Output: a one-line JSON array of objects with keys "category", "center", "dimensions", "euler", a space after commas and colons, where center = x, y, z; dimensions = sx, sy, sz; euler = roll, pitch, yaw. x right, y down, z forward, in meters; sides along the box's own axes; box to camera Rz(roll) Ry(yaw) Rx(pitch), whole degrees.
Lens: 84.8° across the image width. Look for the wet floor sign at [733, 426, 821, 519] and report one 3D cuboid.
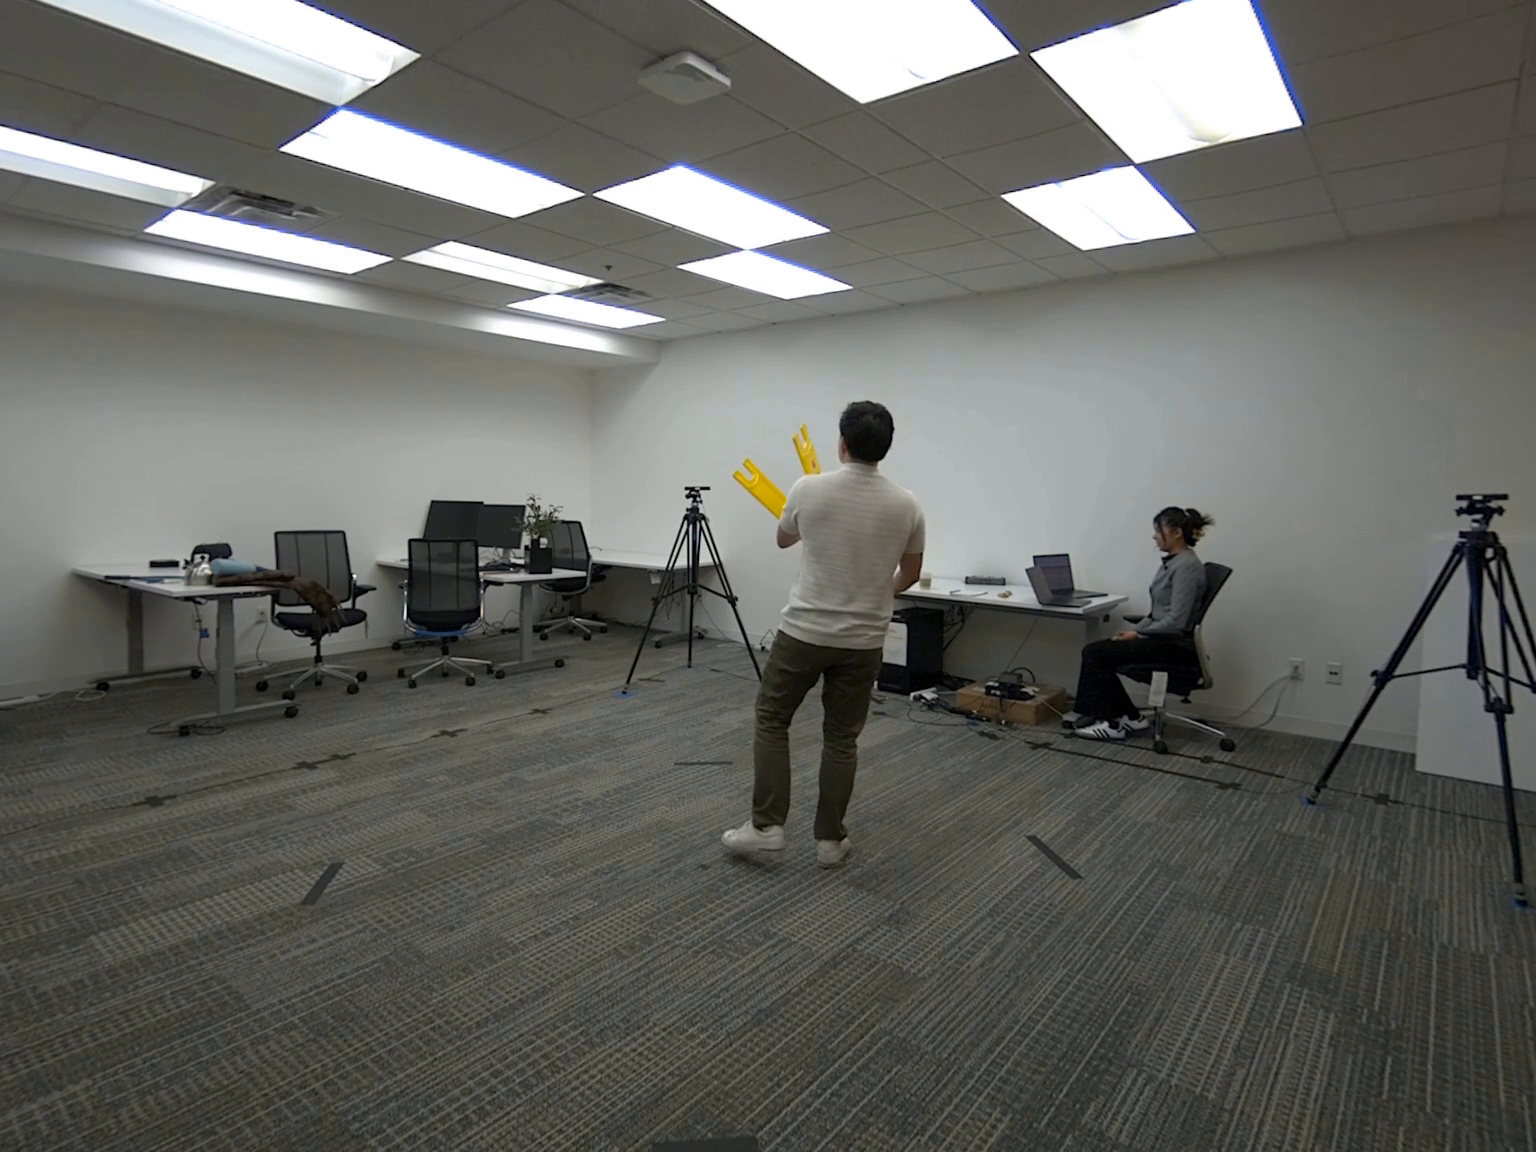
[{"category": "wet floor sign", "center": [0.172, -0.281, 3.626], "dimensions": [0.292, 0.639, 0.283], "euler": [-31, 9, 22]}]
